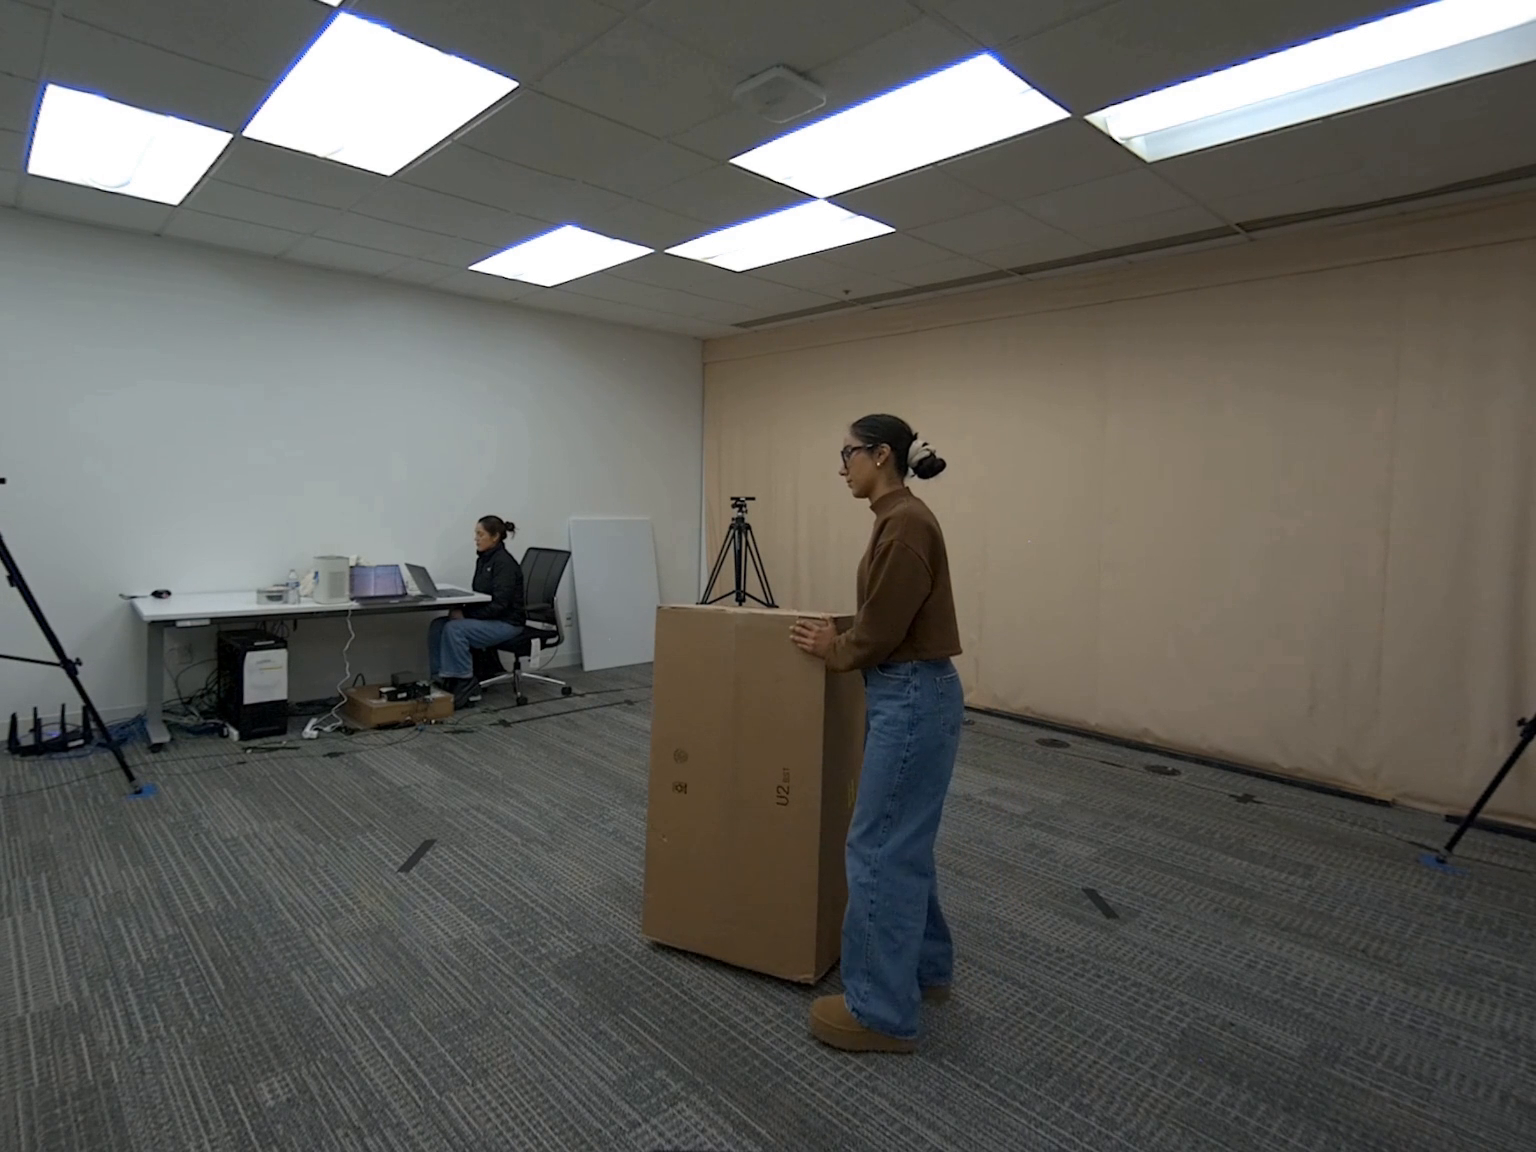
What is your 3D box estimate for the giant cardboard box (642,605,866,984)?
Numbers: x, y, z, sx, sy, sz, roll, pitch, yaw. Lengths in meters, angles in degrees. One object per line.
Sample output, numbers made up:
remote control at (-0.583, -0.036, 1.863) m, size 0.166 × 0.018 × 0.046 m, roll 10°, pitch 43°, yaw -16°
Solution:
giant cardboard box at (-0.034, 0.624, 2.674) m, size 0.589 × 1.027 × 0.417 m, roll 1°, pitch -2°, yaw 27°
